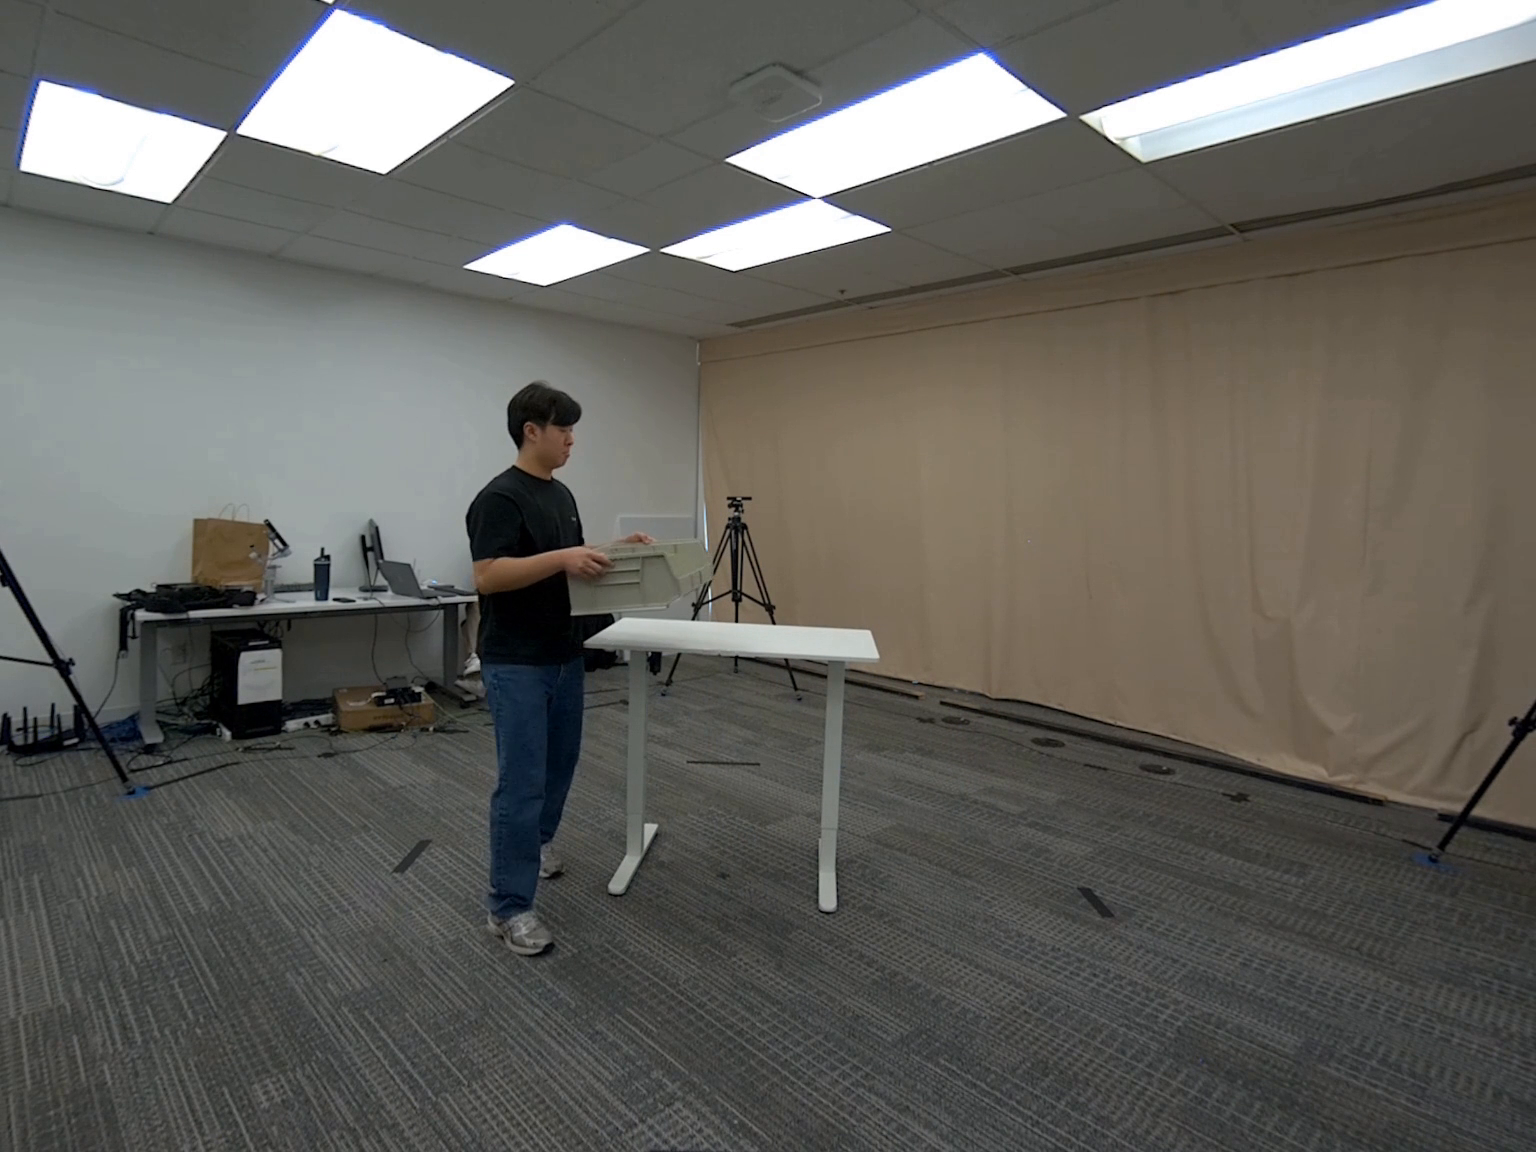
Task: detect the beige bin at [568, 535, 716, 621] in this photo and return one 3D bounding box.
[{"bbox_3d":[-0.407,0.002,2.758,0.380,0.188,0.422,-5,9,10],"label":"beige bin"}]
